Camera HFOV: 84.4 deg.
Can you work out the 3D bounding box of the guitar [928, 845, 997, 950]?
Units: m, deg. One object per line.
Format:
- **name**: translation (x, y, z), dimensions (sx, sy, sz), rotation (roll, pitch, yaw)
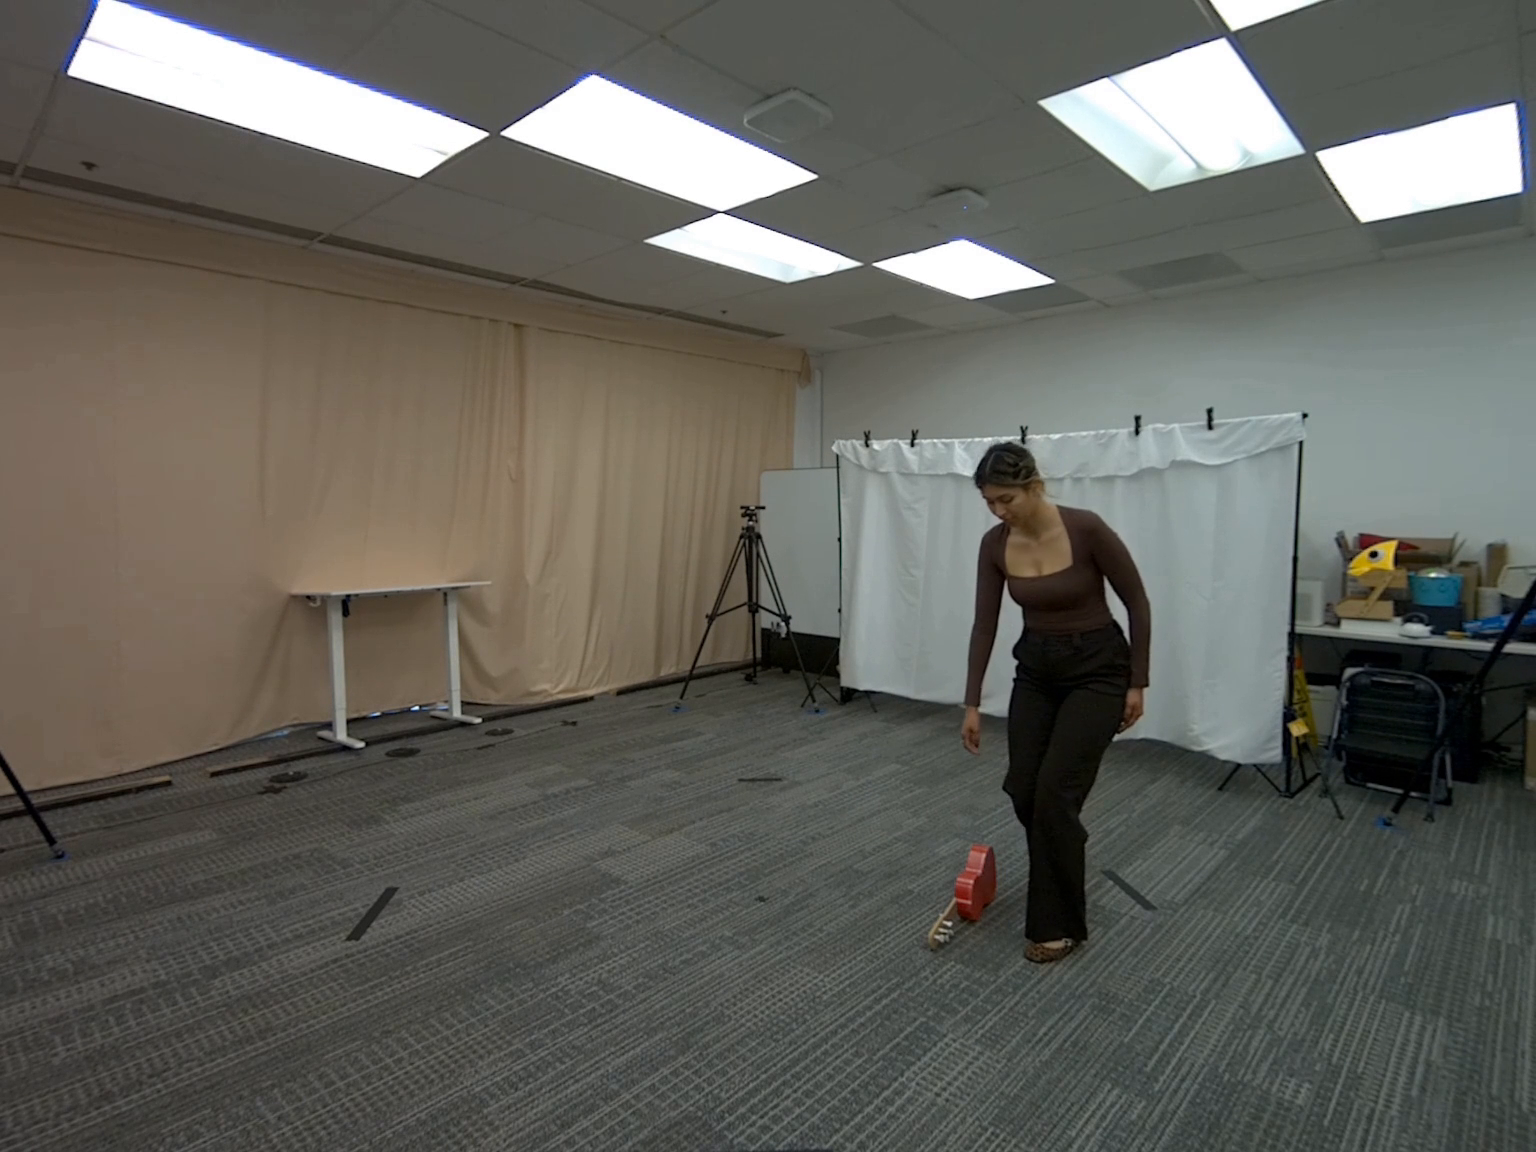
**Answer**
- **guitar**: translation (0.668, 1.118, 2.817), dimensions (0.073, 0.190, 0.490), rotation (-1, 22, 34)
